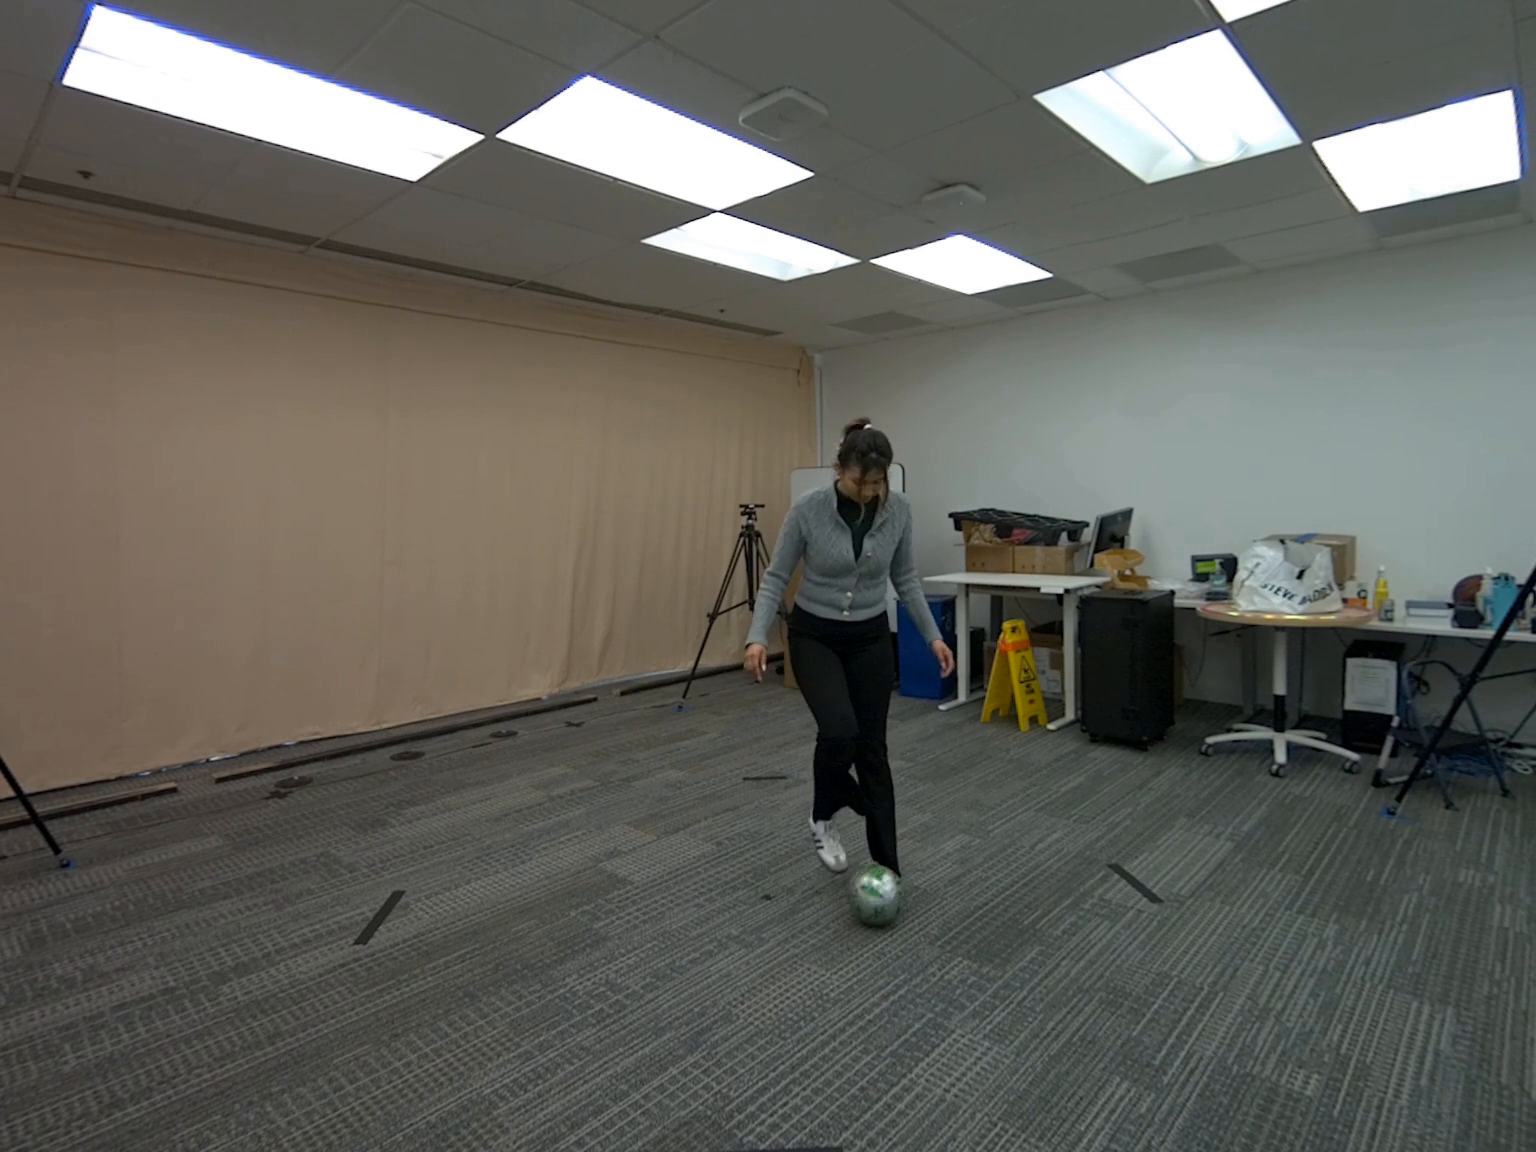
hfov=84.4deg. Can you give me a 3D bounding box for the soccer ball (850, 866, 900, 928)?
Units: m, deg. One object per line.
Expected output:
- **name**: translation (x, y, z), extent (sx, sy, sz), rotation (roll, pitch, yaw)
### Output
- **soccer ball**: translation (0.353, 1.054, 2.786), extent (0.187, 0.187, 0.188), rotation (-1, 4, -2)
